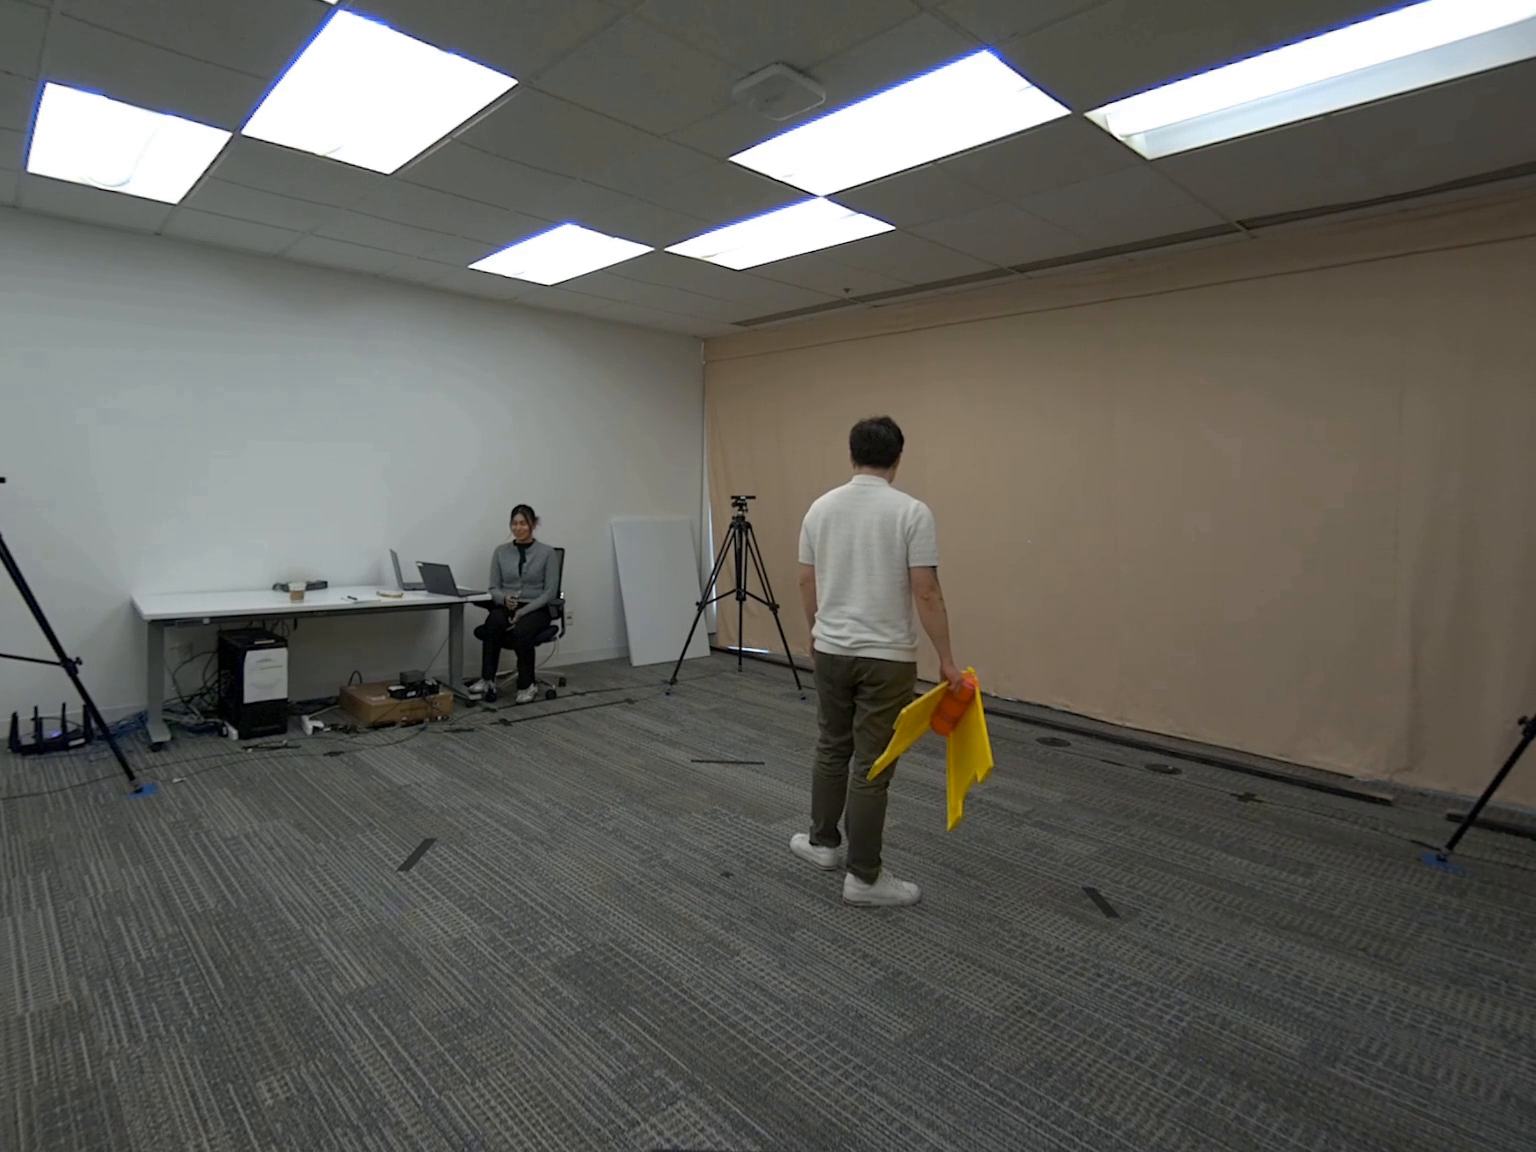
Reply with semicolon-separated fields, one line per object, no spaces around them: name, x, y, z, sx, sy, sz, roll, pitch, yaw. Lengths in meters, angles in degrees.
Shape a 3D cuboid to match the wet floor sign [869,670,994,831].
wet floor sign;0.587;0.504;2.835;0.293;0.280;0.642;30;25;11
